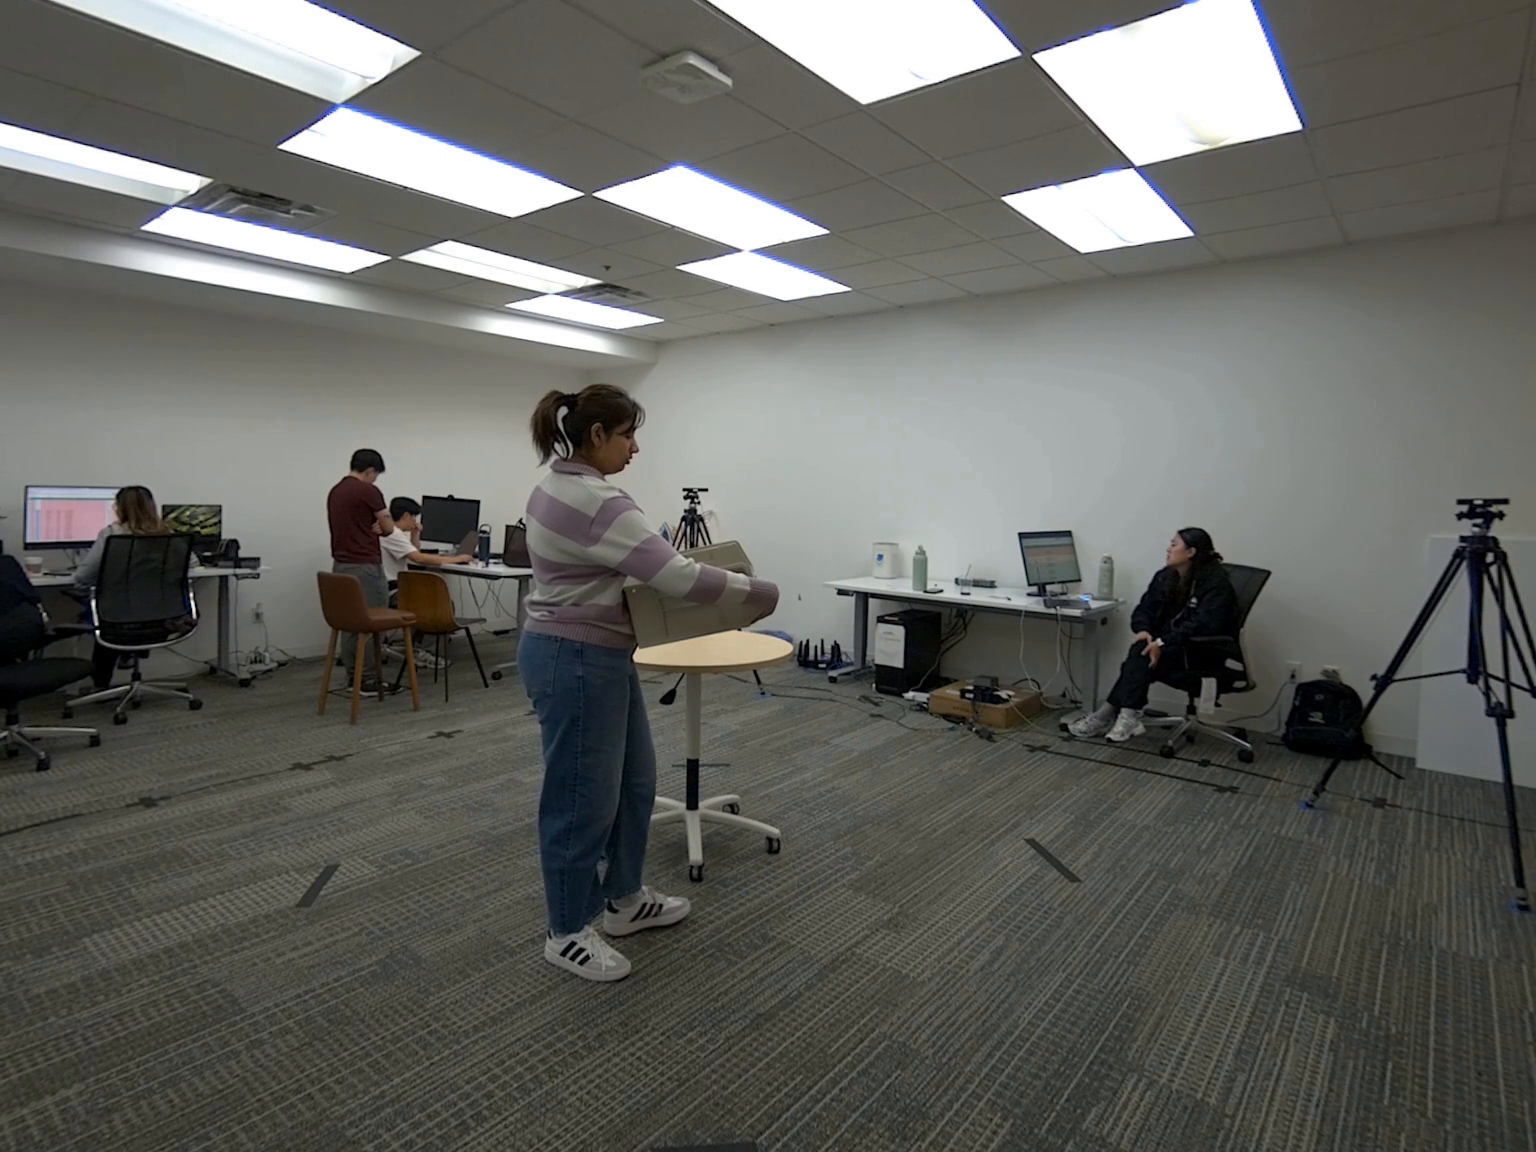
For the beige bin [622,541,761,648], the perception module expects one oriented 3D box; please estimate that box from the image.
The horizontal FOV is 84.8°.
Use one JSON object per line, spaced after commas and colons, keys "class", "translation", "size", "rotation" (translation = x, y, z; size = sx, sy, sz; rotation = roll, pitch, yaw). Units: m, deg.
{"class": "beige bin", "translation": [-0.221, 0.044, 2.499], "size": [0.376, 0.186, 0.429], "rotation": [-12, 13, -3]}
